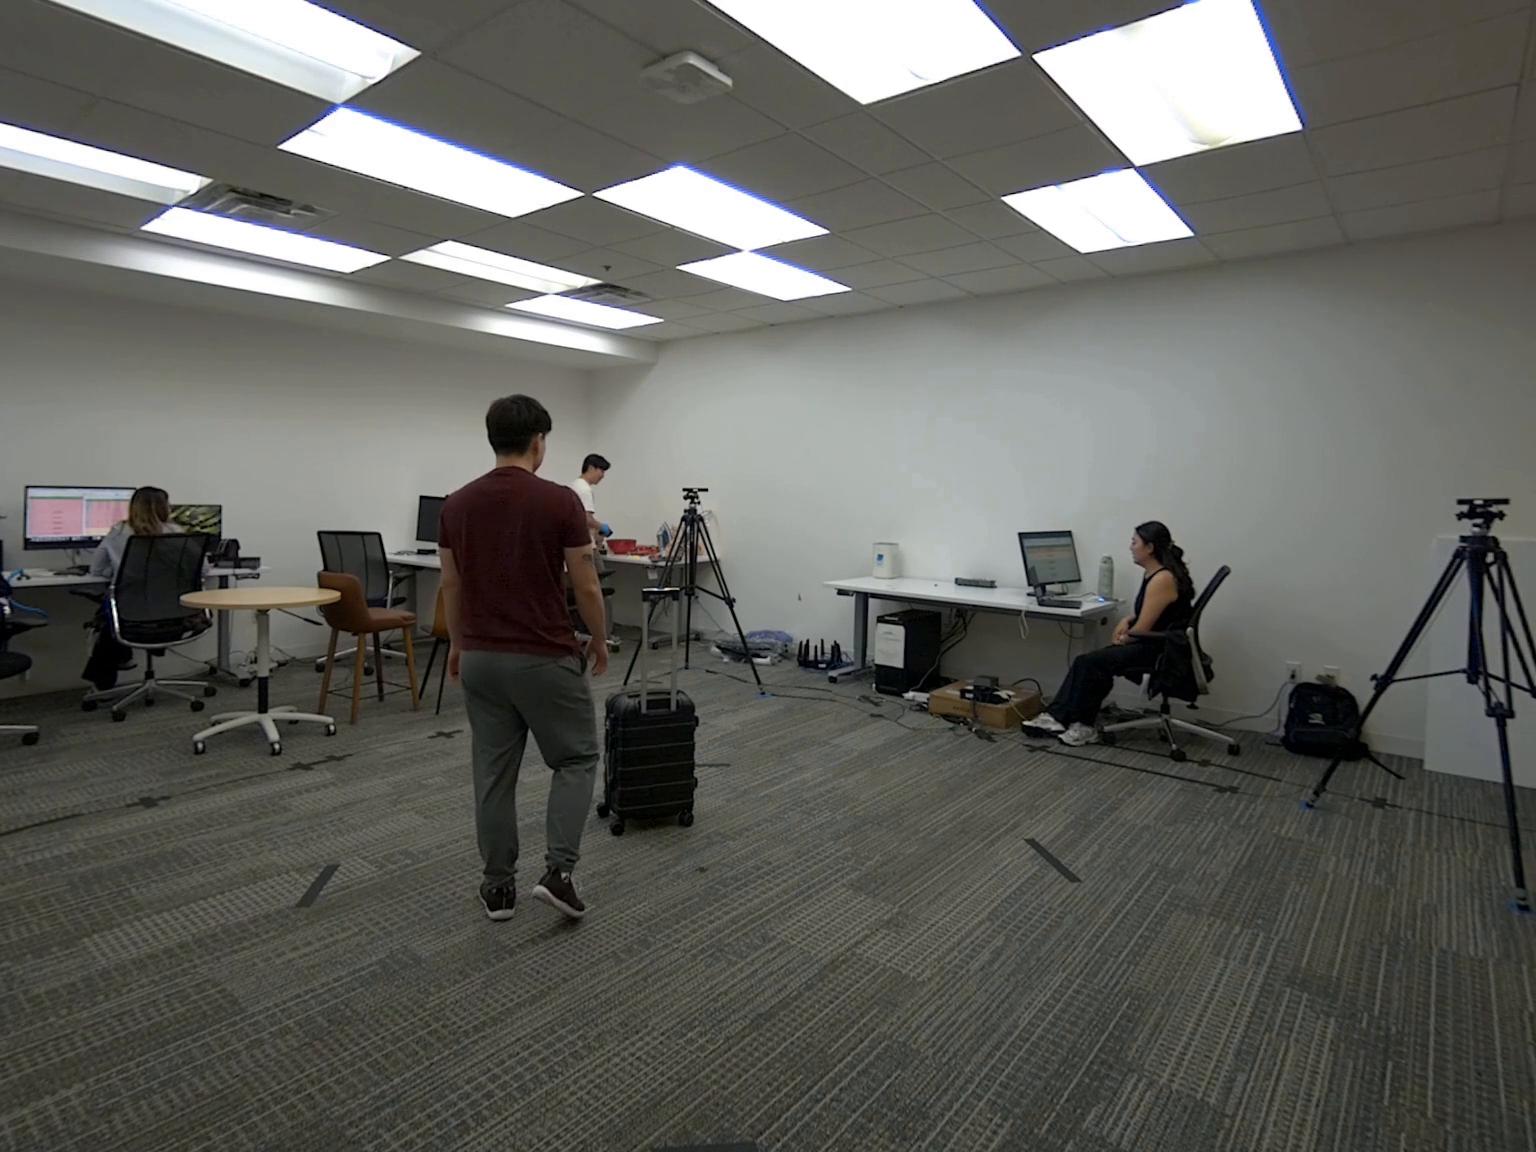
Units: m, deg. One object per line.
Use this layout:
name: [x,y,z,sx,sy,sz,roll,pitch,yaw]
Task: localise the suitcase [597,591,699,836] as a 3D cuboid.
suitcase: [-0.511,0.544,3.555,0.376,0.978,0.262,1,0,-21]
